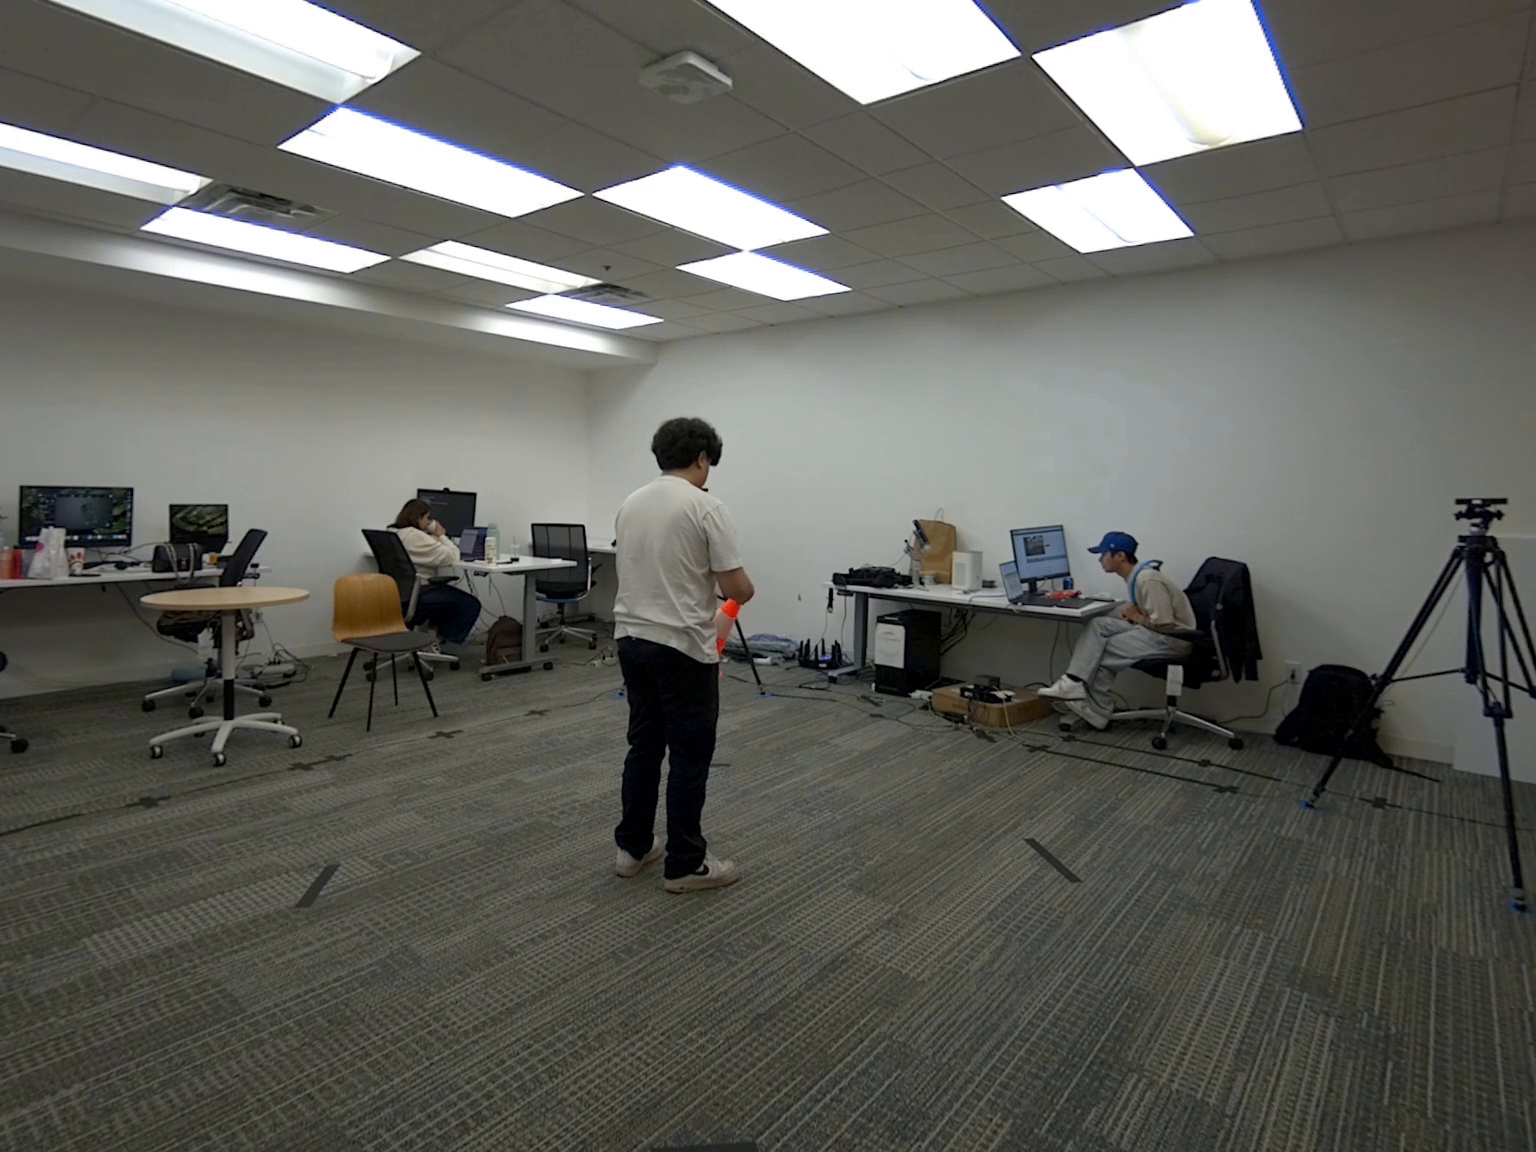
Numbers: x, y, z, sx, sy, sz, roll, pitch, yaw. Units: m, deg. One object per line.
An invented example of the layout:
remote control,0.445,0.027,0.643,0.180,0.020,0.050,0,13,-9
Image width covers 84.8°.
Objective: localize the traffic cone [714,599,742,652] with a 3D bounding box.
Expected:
traffic cone,-0.195,0.208,3.334,0.212,0.382,0.197,43,20,24
